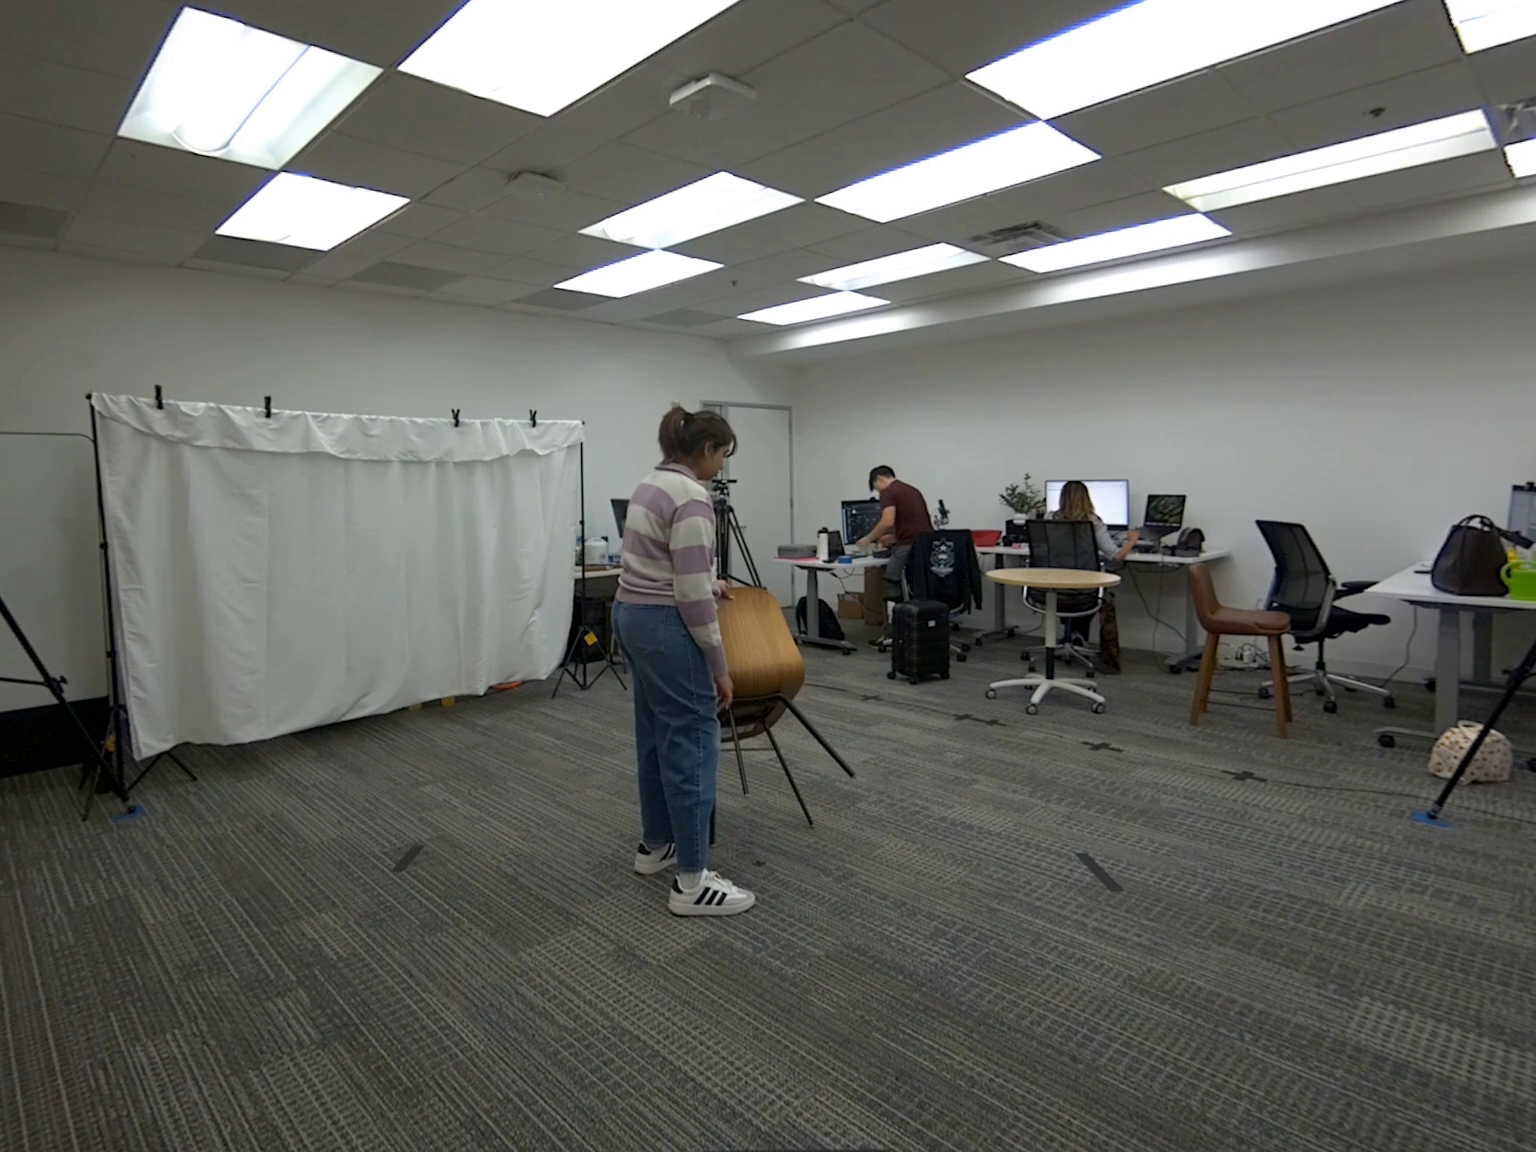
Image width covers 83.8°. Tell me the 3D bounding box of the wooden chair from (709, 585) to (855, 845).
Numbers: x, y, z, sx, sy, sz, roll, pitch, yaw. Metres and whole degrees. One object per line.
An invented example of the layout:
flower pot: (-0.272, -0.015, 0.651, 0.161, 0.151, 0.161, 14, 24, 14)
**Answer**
wooden chair: (-0.081, 0.550, 3.438, 0.468, 0.905, 0.517, -4, -34, -25)
